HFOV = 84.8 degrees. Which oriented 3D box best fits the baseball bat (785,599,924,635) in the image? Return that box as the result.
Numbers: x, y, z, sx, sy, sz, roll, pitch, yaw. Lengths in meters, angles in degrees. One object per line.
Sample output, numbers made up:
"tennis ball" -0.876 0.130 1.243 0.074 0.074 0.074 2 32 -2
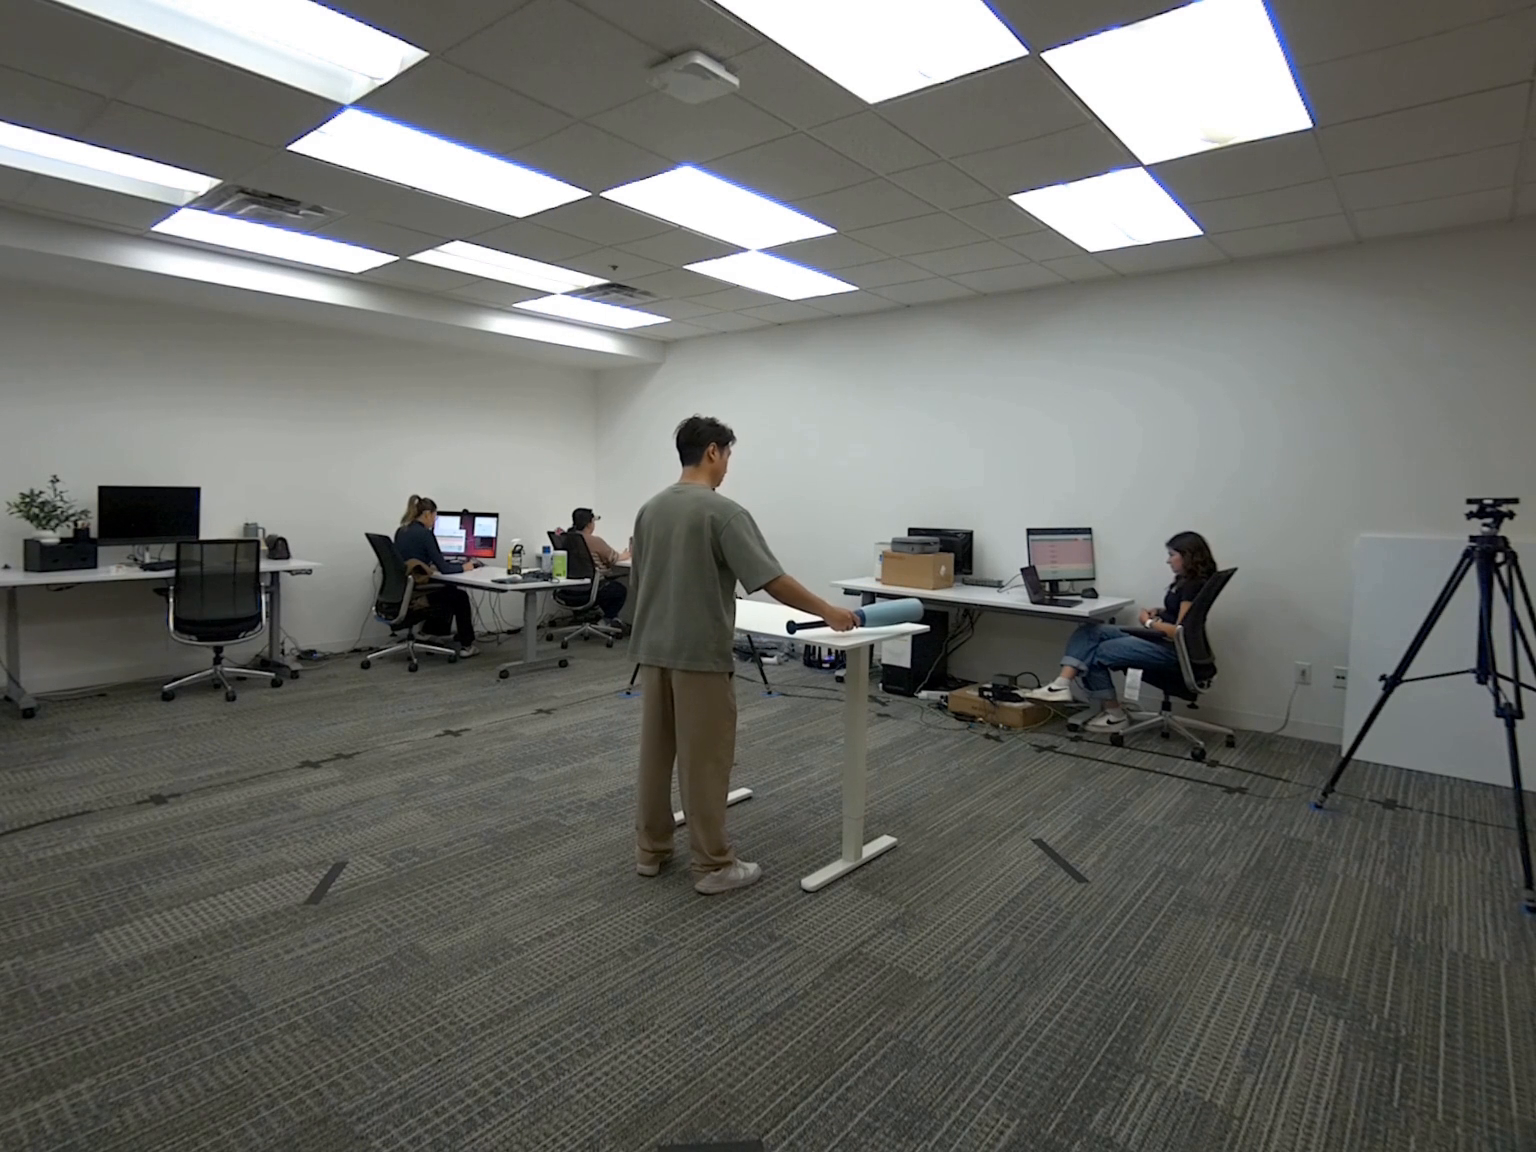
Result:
"baseball bat" 0.299 0.151 3.014 0.533 0.088 0.091 -7 7 -21
